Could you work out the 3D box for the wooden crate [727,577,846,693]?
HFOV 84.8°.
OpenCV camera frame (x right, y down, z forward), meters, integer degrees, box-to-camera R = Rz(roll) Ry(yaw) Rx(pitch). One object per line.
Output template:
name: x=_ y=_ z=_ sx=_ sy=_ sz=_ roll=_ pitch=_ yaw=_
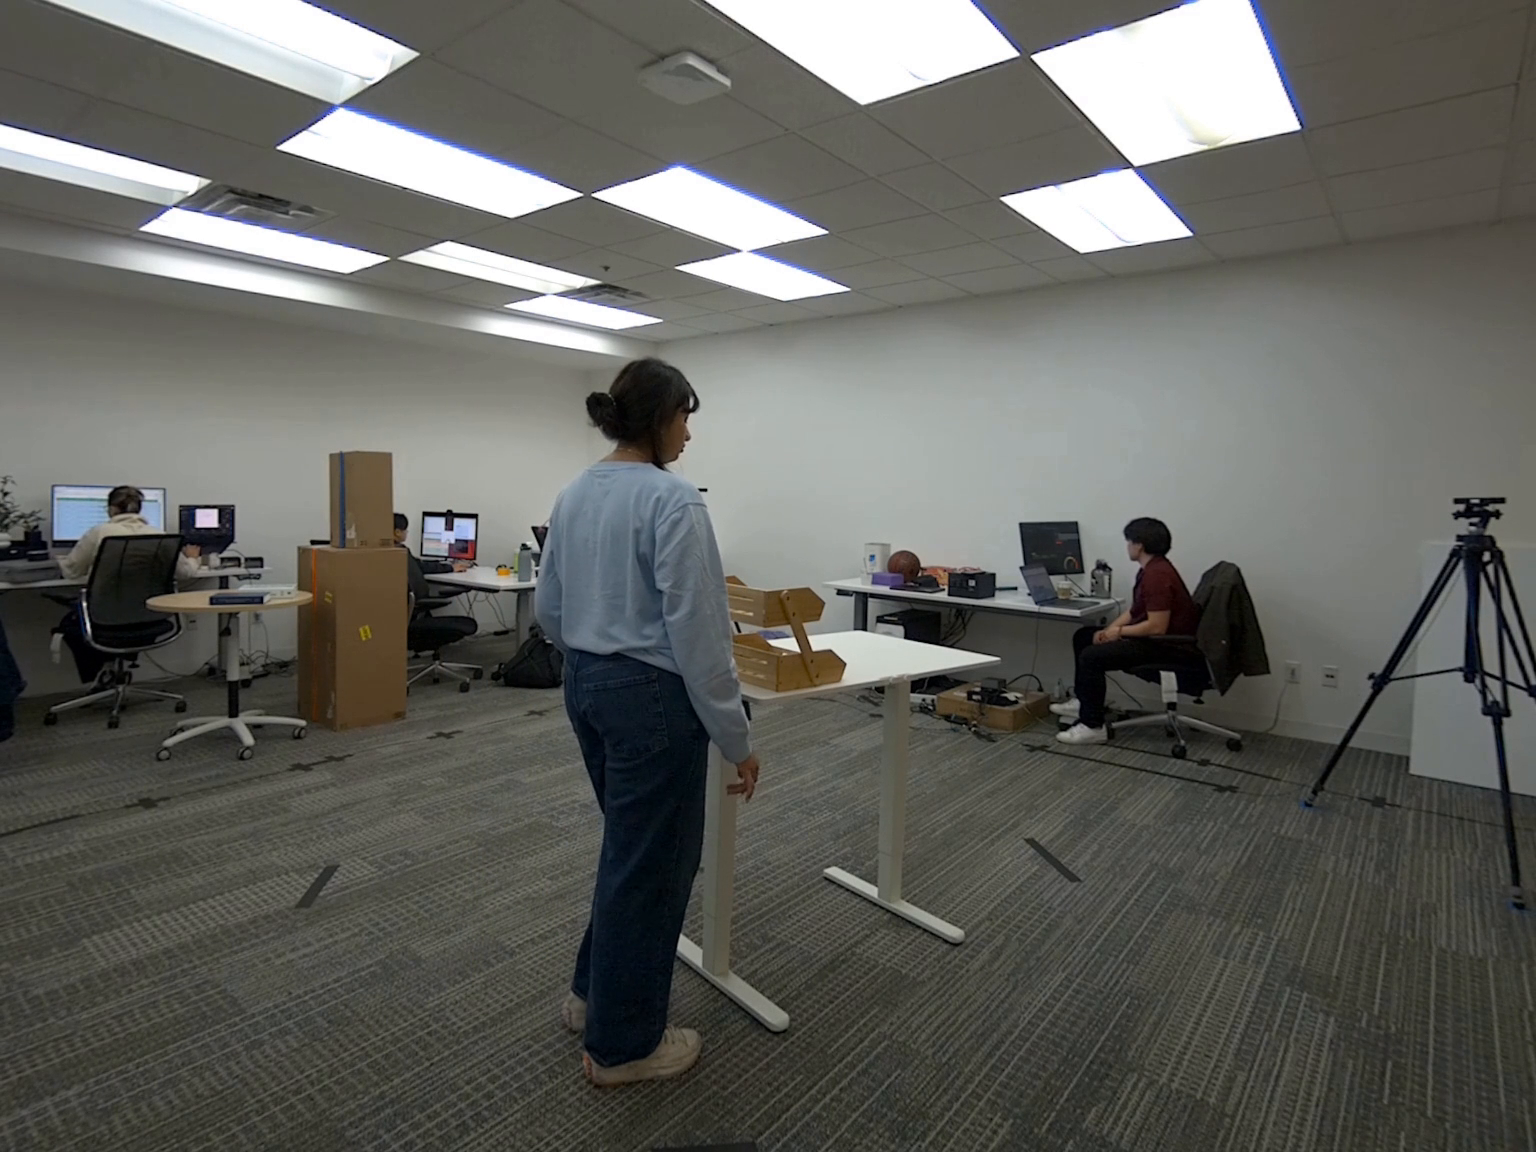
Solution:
wooden crate: x=-0.006 y=0.139 z=2.292 sx=0.293 sy=0.272 sz=0.336 roll=-3 pitch=7 yaw=-41
